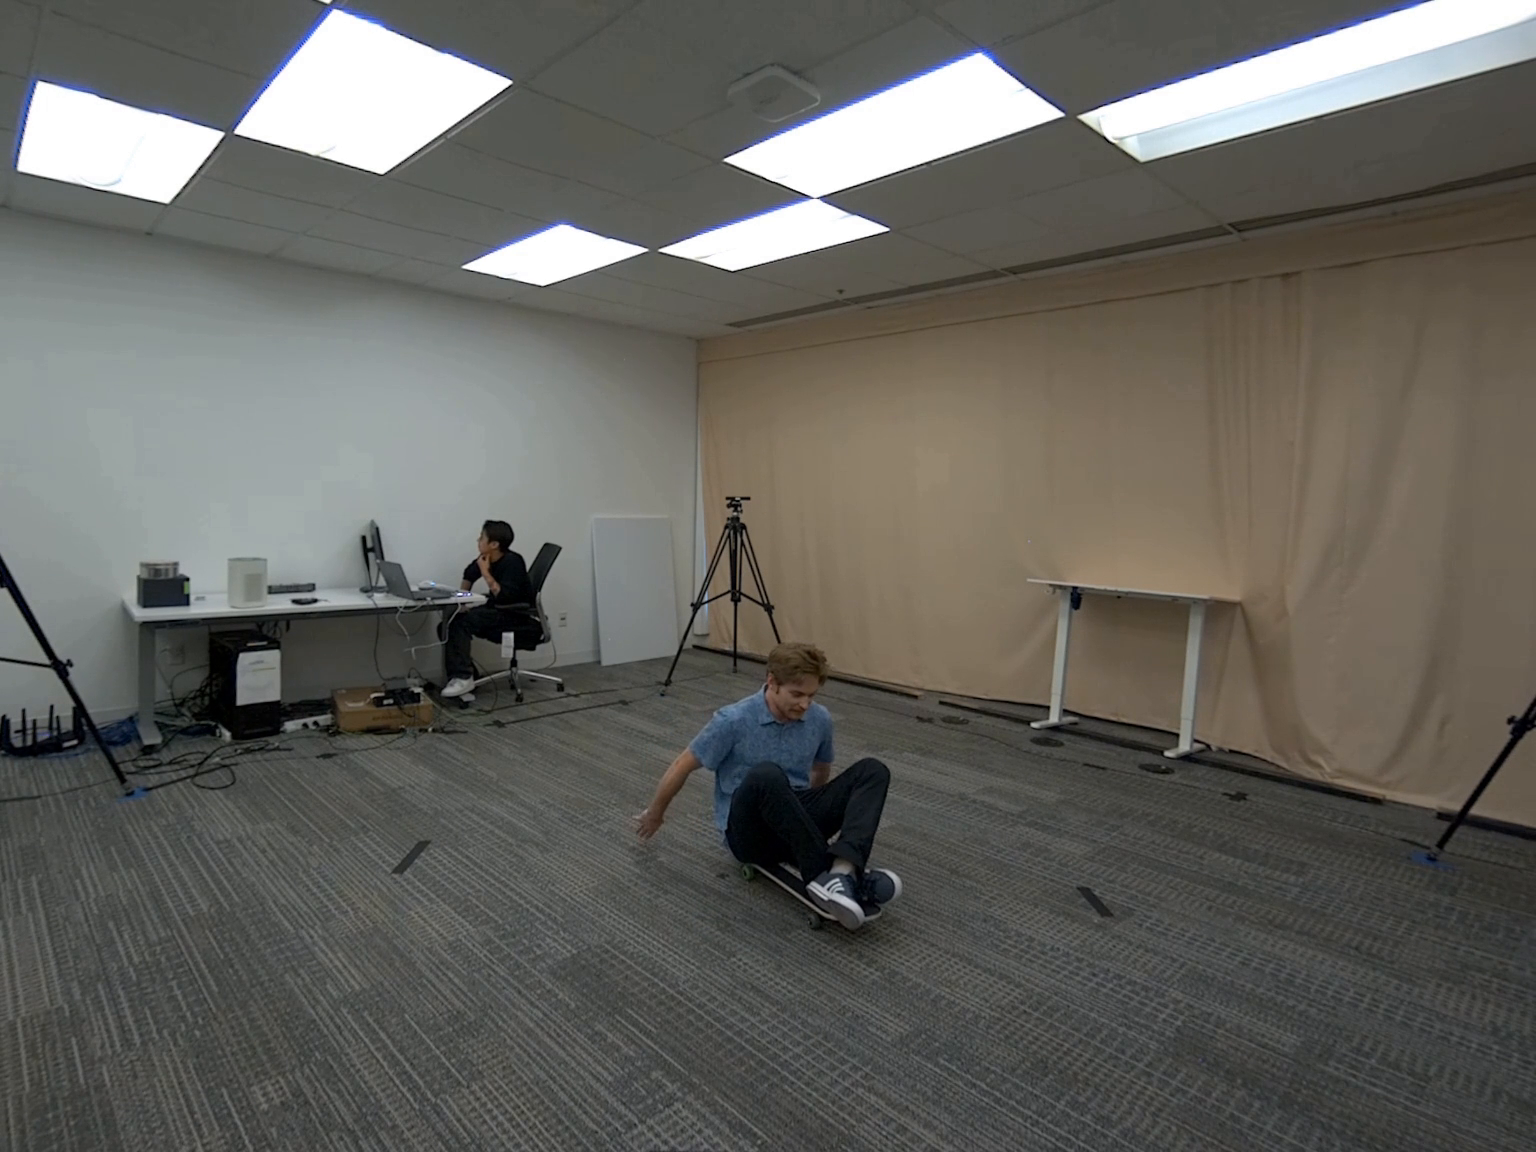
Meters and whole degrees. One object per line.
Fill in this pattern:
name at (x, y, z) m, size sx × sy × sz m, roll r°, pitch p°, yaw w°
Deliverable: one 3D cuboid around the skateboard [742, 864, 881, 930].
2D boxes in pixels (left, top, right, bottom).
skateboard at (0.100, 1.079, 2.951) m, size 0.189 × 0.110 × 0.804 m, roll 1°, pitch 4°, yaw -34°
